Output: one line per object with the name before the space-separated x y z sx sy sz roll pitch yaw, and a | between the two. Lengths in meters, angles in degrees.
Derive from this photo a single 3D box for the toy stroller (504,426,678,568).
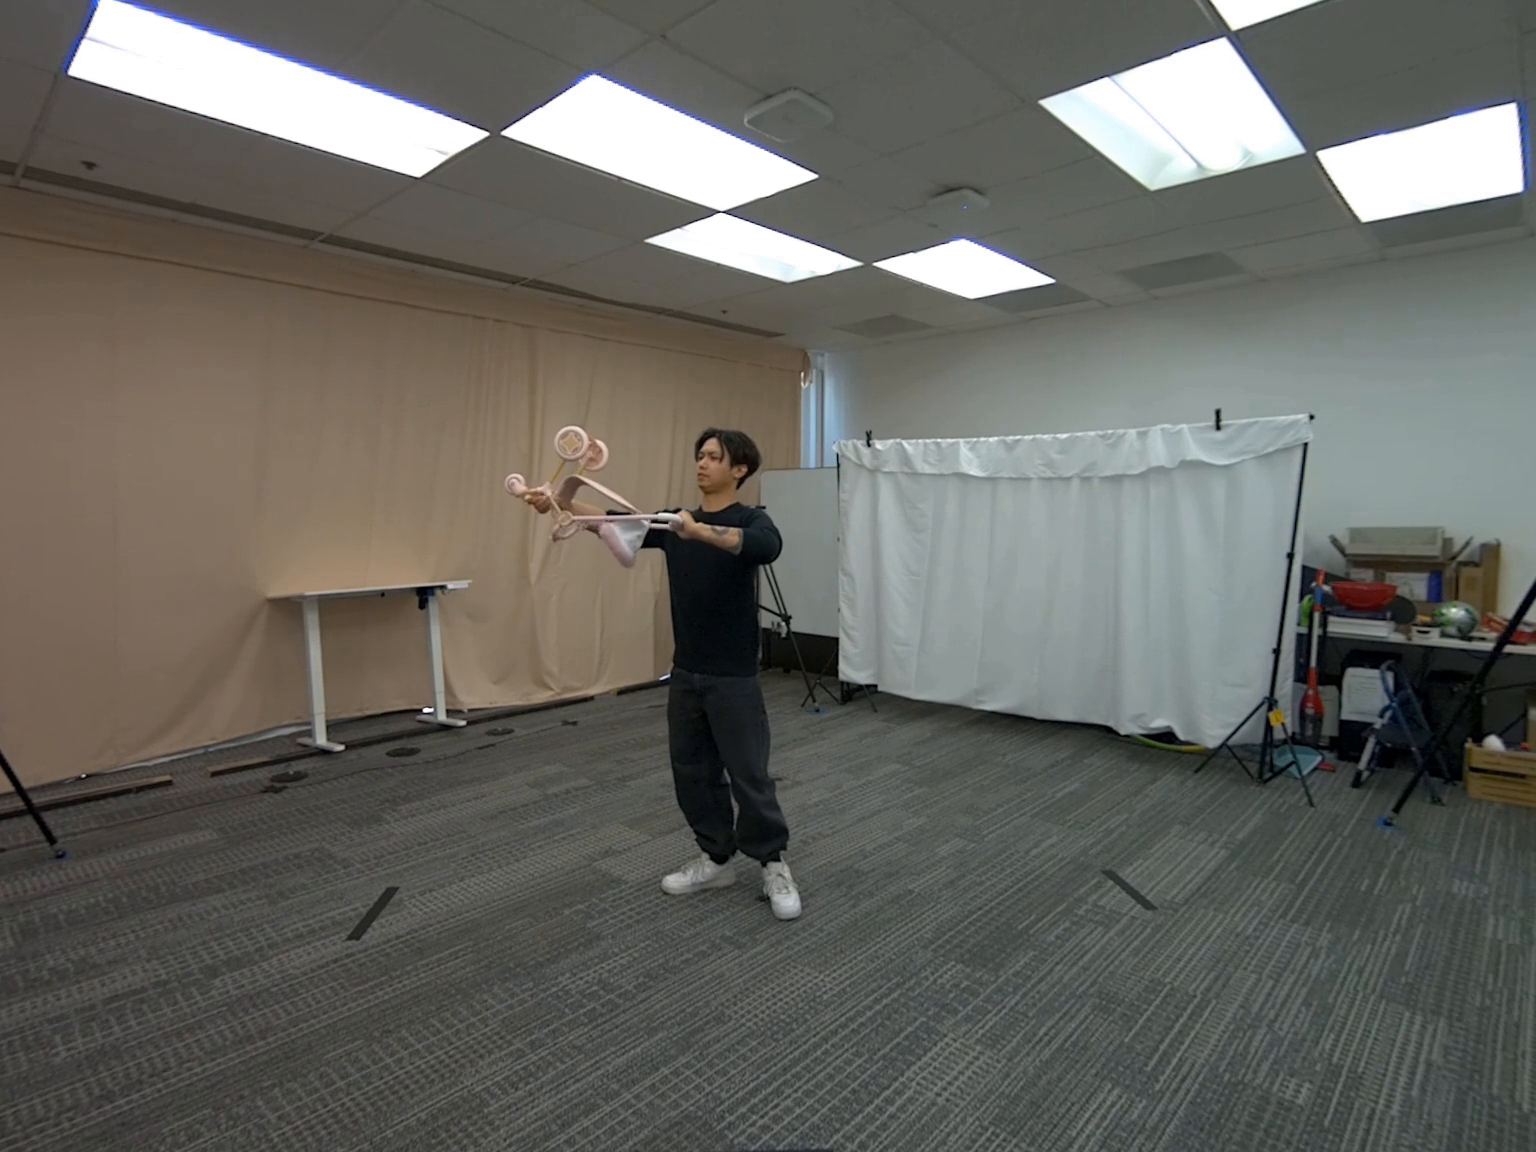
toy stroller | -0.574 -0.232 2.723 0.539 0.341 0.279 44 -2 5
